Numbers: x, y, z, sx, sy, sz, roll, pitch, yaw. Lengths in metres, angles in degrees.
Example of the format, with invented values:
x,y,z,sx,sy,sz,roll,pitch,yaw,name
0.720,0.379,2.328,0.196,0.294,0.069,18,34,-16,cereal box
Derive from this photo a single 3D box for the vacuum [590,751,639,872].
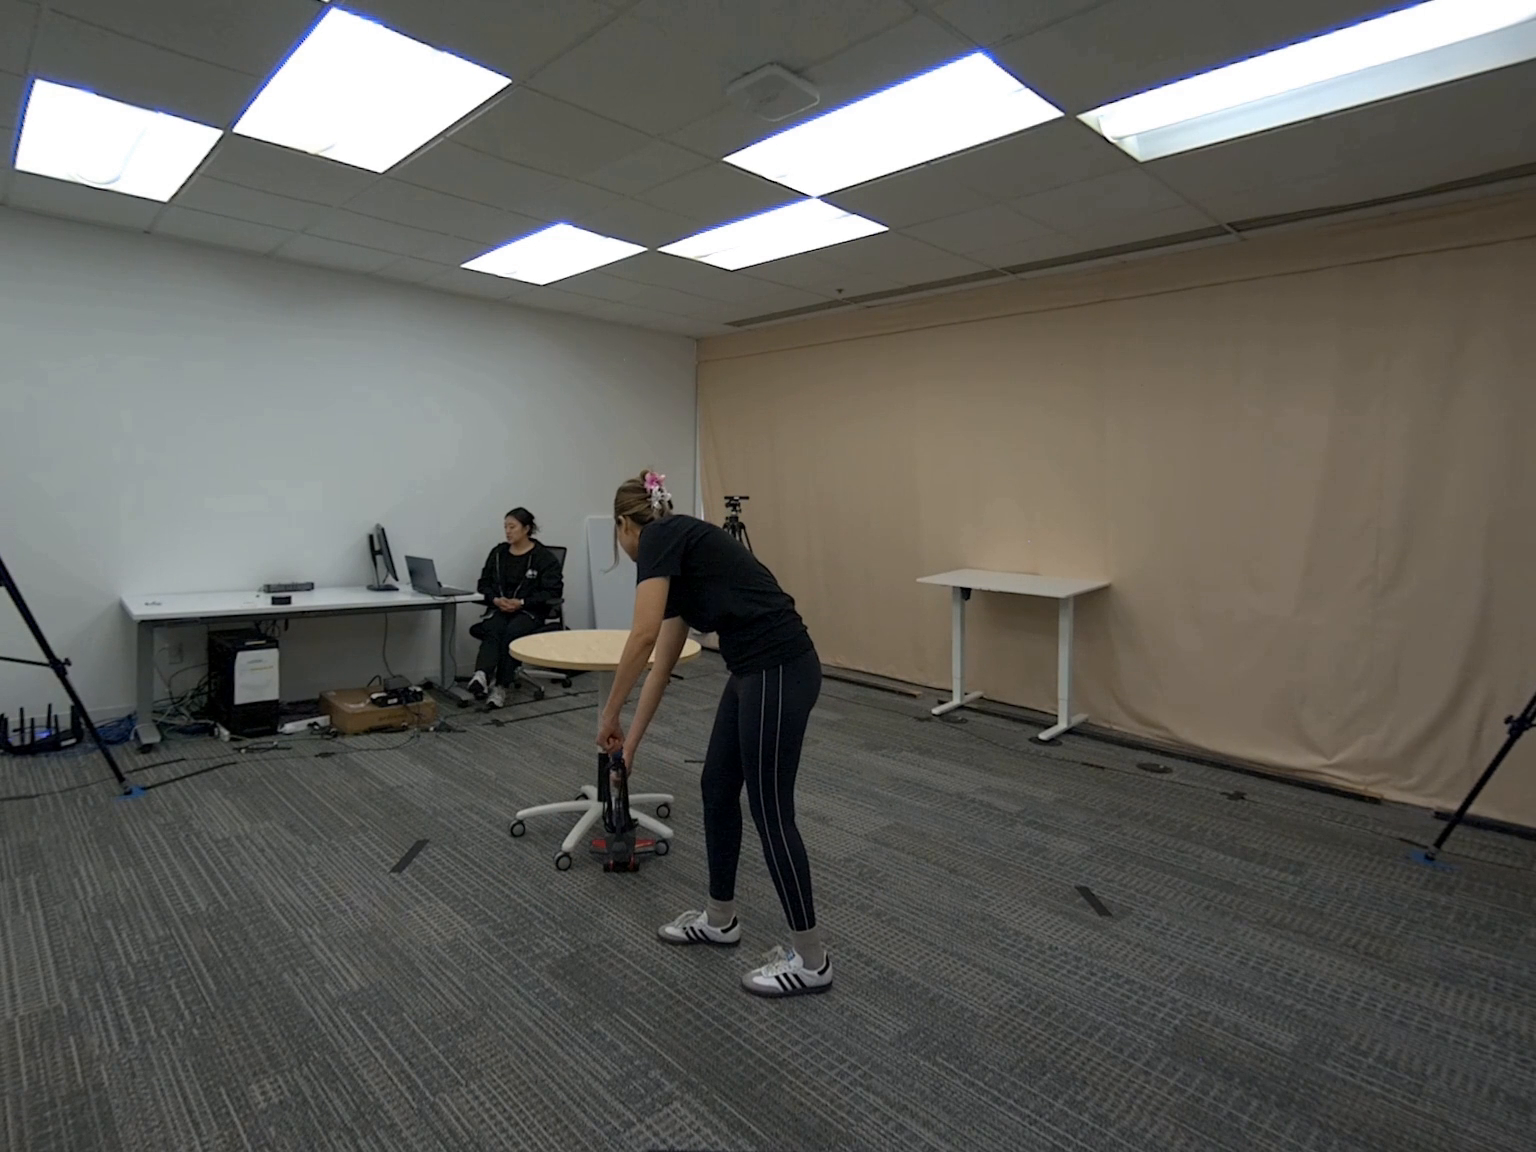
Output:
x,y,z,sx,sy,sz,roll,pitch,yaw,name
-0.495,0.770,2.755,0.252,0.146,1.032,8,-34,-2,vacuum
